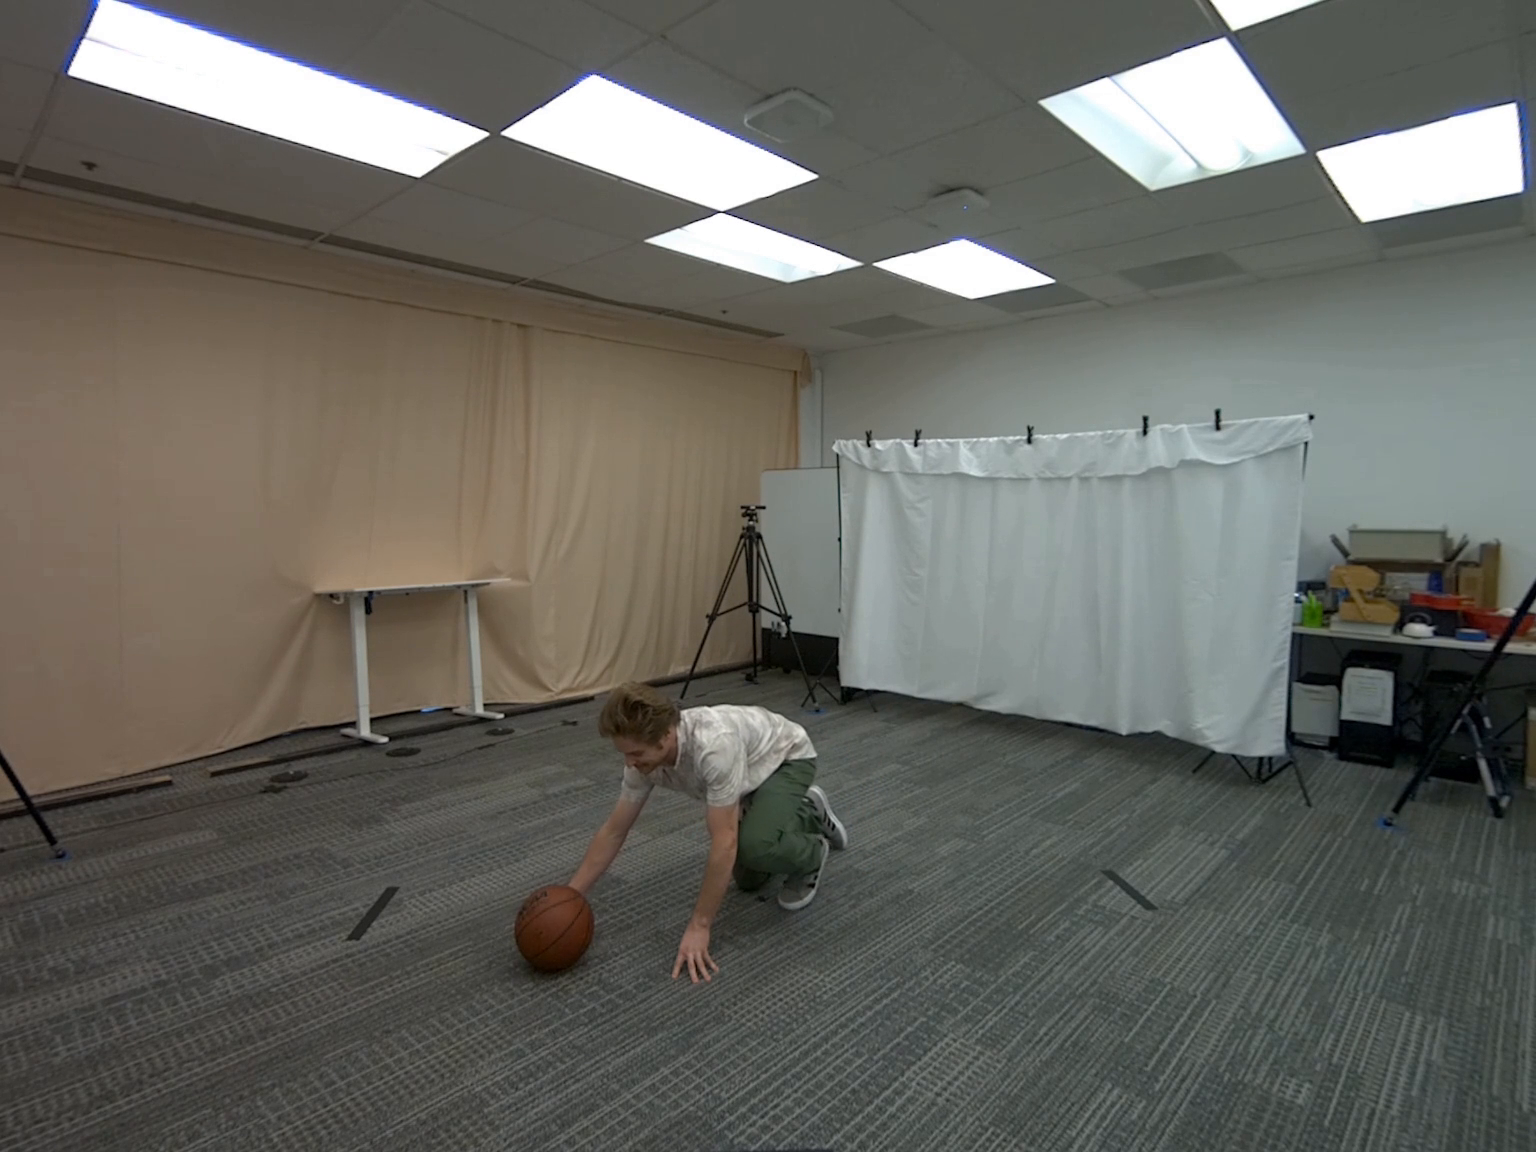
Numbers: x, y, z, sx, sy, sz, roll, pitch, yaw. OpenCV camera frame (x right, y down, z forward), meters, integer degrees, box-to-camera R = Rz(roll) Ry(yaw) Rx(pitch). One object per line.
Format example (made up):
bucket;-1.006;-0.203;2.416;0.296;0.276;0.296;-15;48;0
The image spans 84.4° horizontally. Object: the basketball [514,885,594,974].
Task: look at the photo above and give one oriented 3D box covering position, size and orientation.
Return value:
basketball;-0.647;1.064;2.552;0.236;0.235;0.237;0;4;-2
